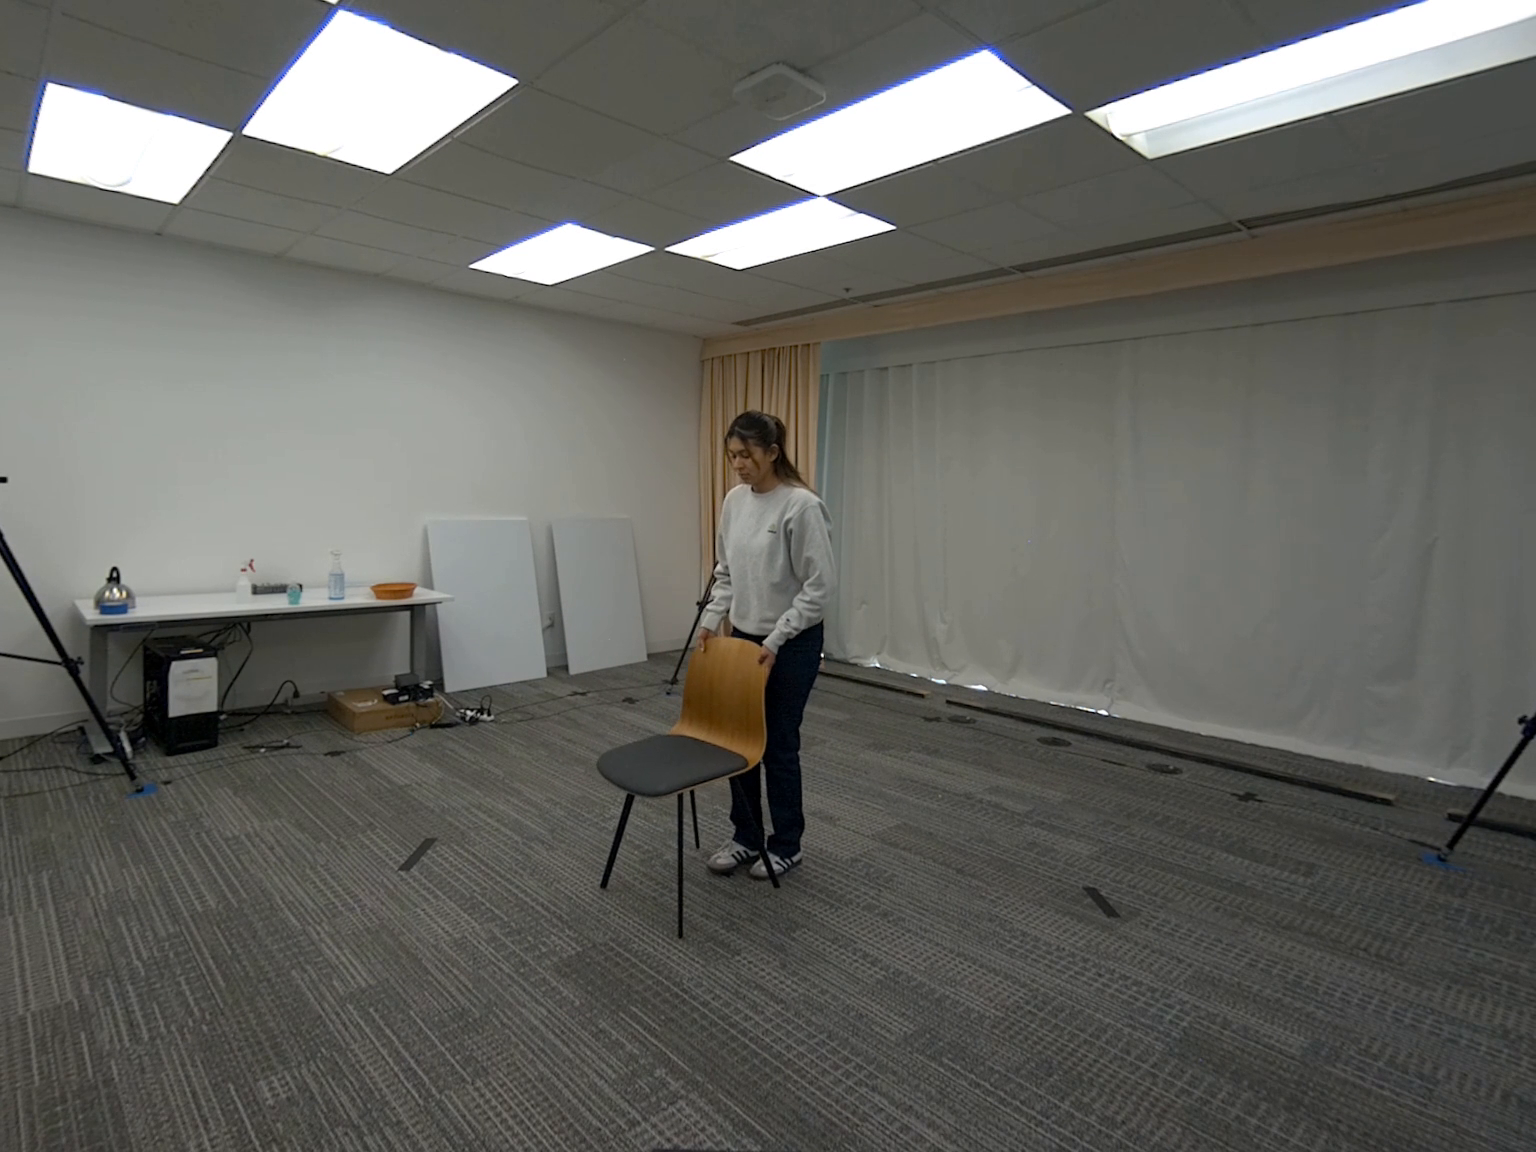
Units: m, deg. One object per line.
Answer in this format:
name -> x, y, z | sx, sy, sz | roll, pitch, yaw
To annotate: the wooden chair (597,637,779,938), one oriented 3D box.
wooden chair -> -0.293, 0.679, 2.894 | 0.511, 0.875, 0.490 | -1, 4, -44
